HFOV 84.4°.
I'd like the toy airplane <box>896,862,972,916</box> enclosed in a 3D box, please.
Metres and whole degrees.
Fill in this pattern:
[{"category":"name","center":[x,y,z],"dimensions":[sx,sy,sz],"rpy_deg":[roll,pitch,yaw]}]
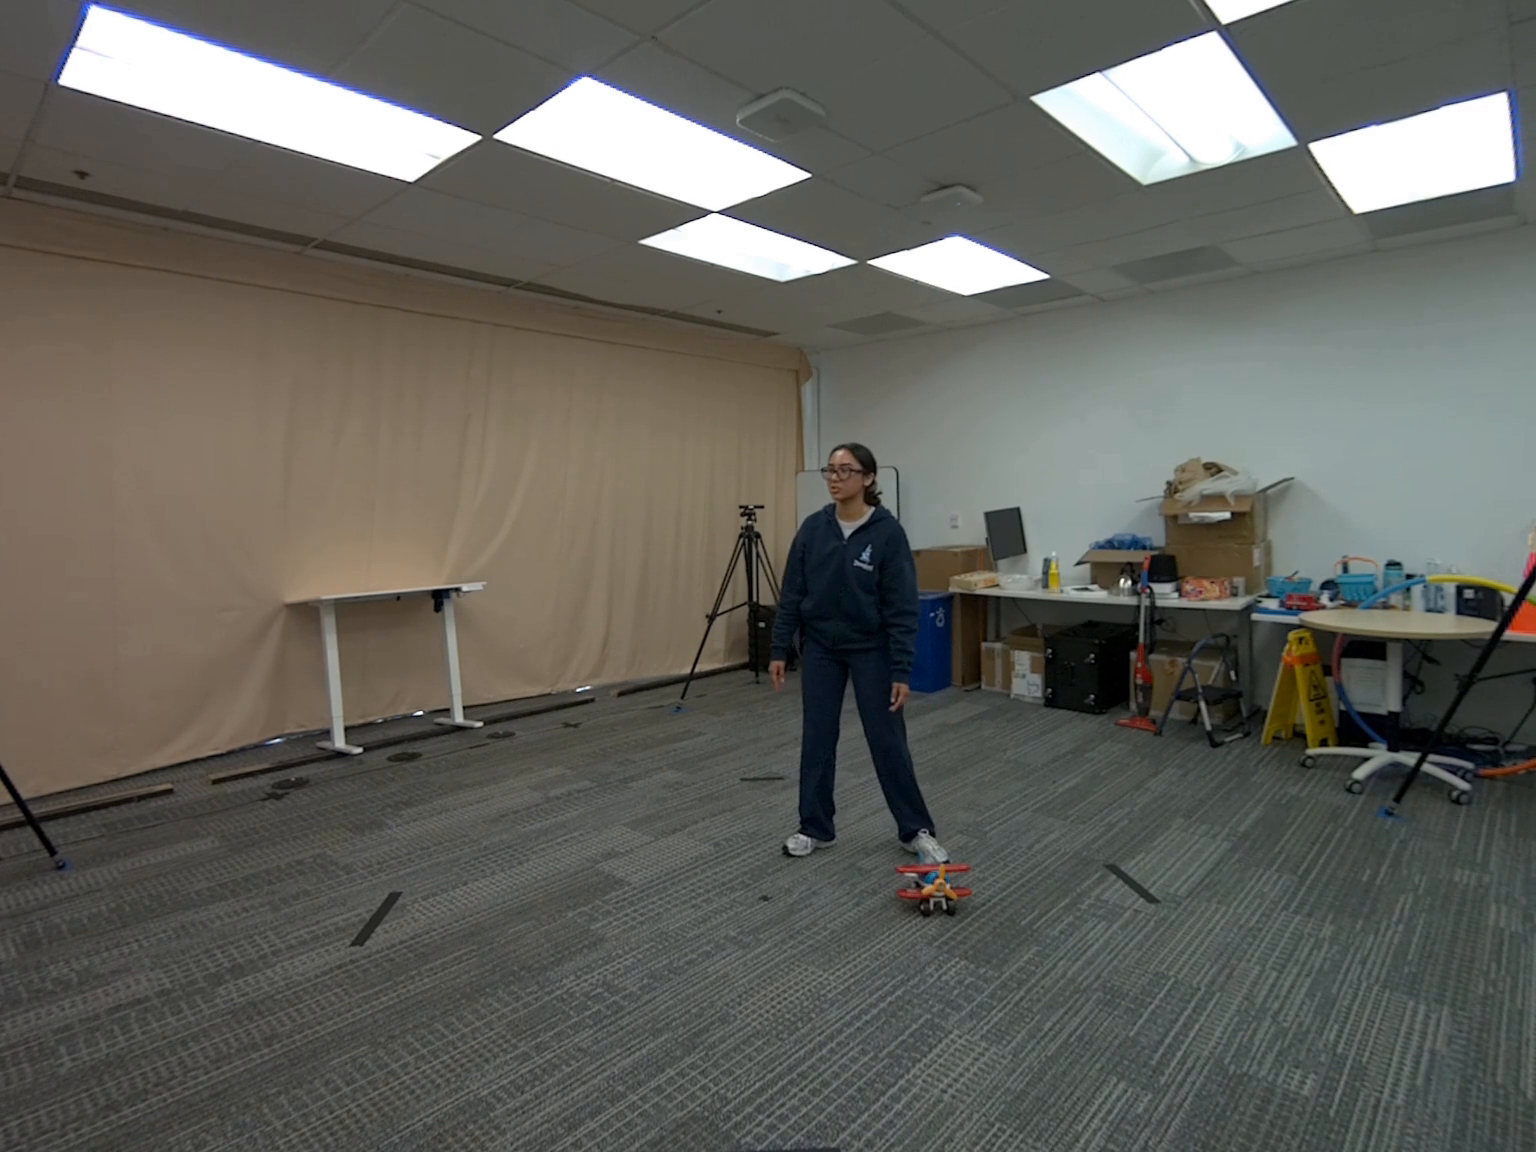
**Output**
[{"category":"toy airplane","center":[0.543,1.058,2.914],"dimensions":[0.244,0.156,0.267],"rpy_deg":[-3,6,-32]}]
